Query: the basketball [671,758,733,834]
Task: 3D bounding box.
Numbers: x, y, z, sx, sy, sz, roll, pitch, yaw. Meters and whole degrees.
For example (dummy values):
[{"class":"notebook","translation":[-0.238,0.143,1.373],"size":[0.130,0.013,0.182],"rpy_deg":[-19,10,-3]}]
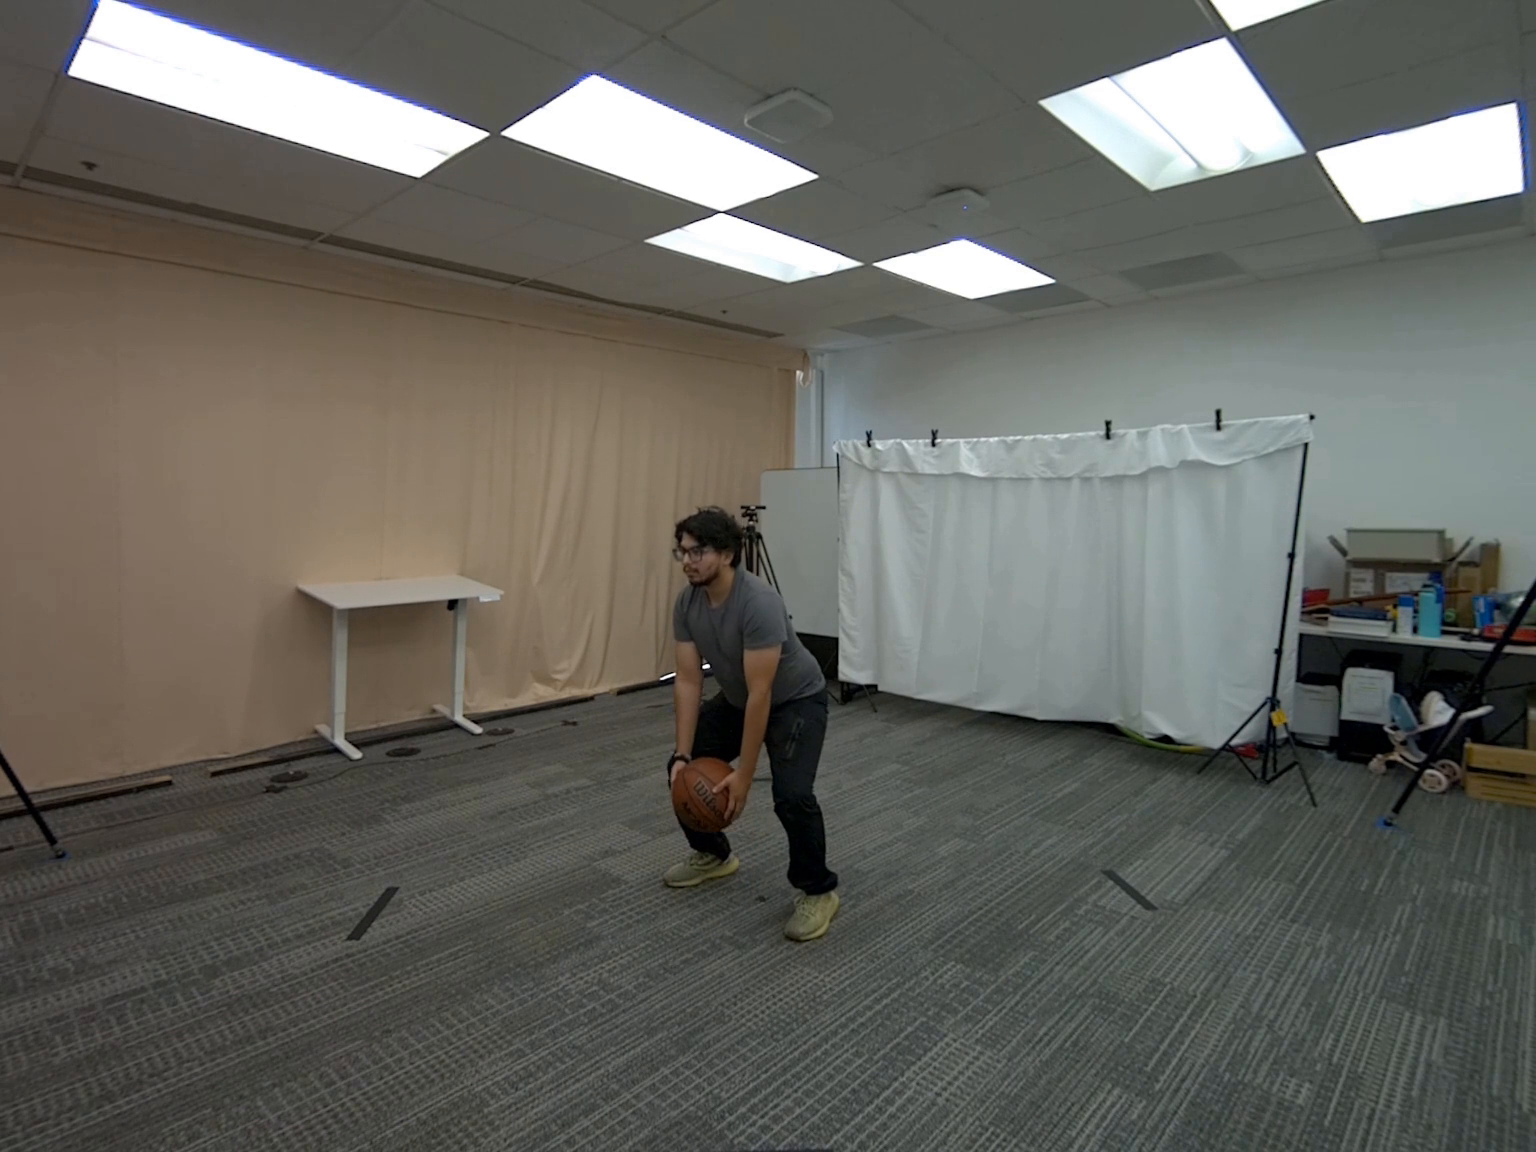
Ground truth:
[{"class":"basketball","translation":[-0.199,0.719,2.787],"size":[0.236,0.235,0.237],"rpy_deg":[0,4,-2]}]
